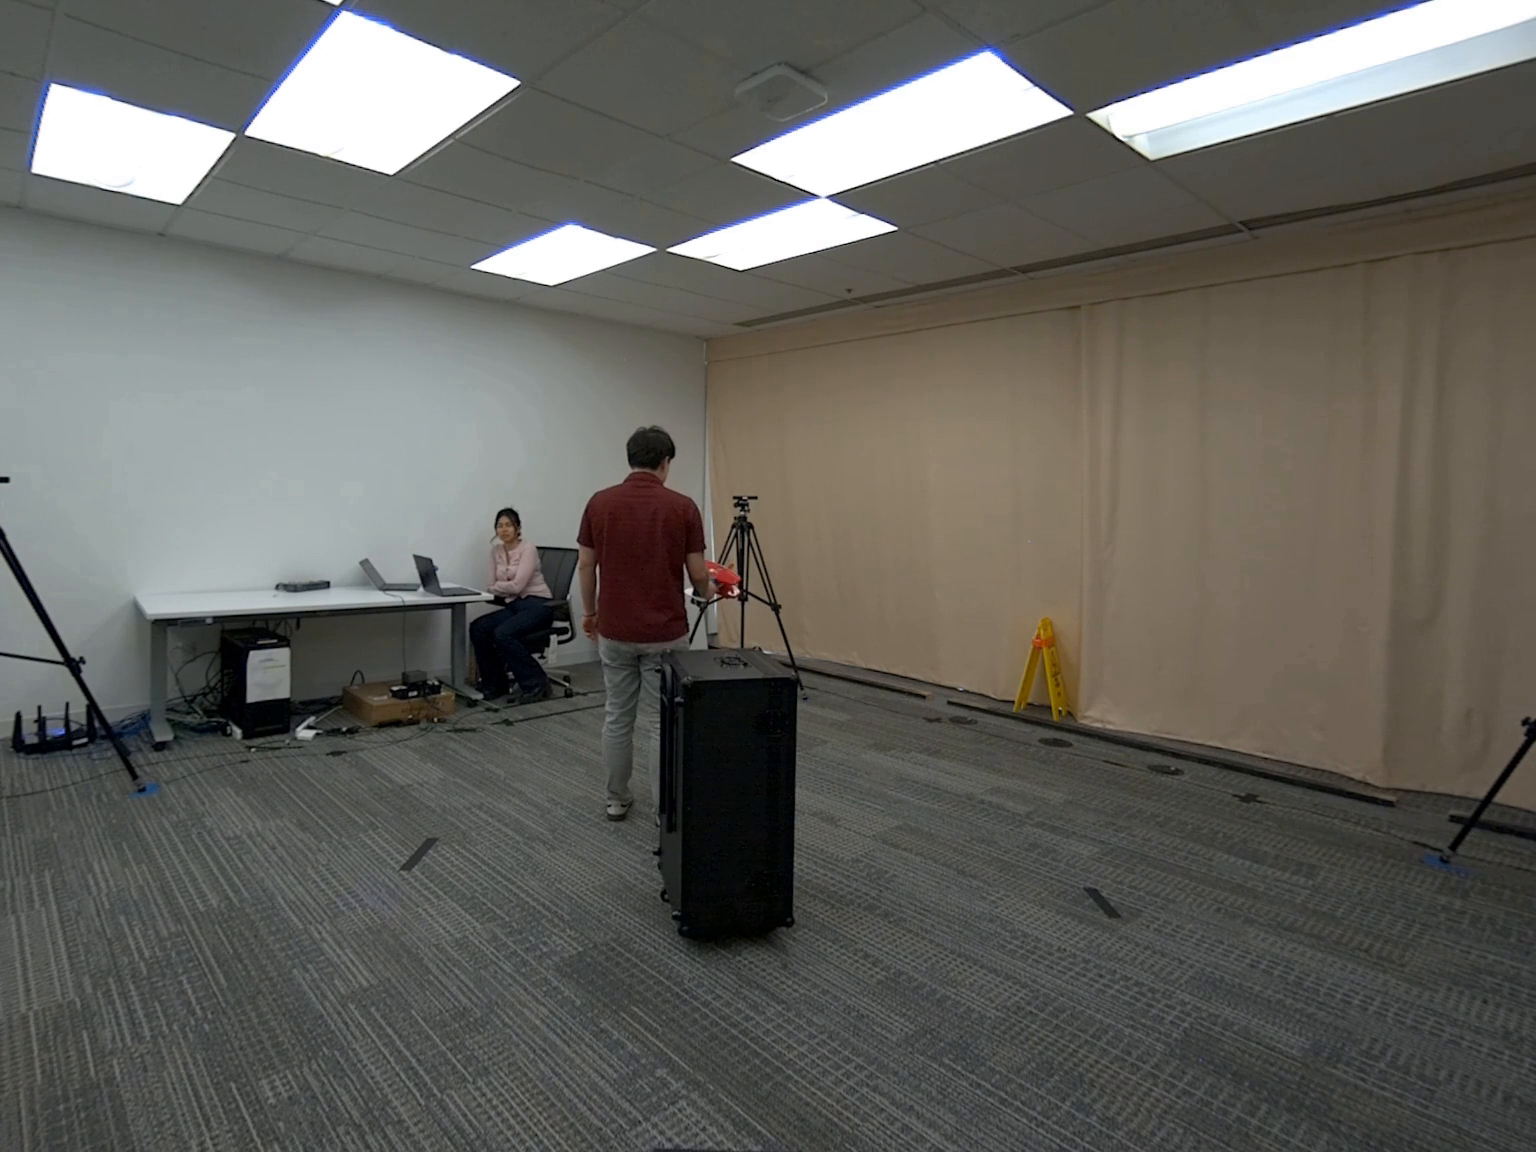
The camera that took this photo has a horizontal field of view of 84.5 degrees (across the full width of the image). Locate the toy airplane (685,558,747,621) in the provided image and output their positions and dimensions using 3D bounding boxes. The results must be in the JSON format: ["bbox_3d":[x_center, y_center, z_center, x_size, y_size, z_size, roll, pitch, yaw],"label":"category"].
[{"bbox_3d":[-0.252,0.050,3.885,0.252,0.154,0.261,11,23,4],"label":"toy airplane"}]
